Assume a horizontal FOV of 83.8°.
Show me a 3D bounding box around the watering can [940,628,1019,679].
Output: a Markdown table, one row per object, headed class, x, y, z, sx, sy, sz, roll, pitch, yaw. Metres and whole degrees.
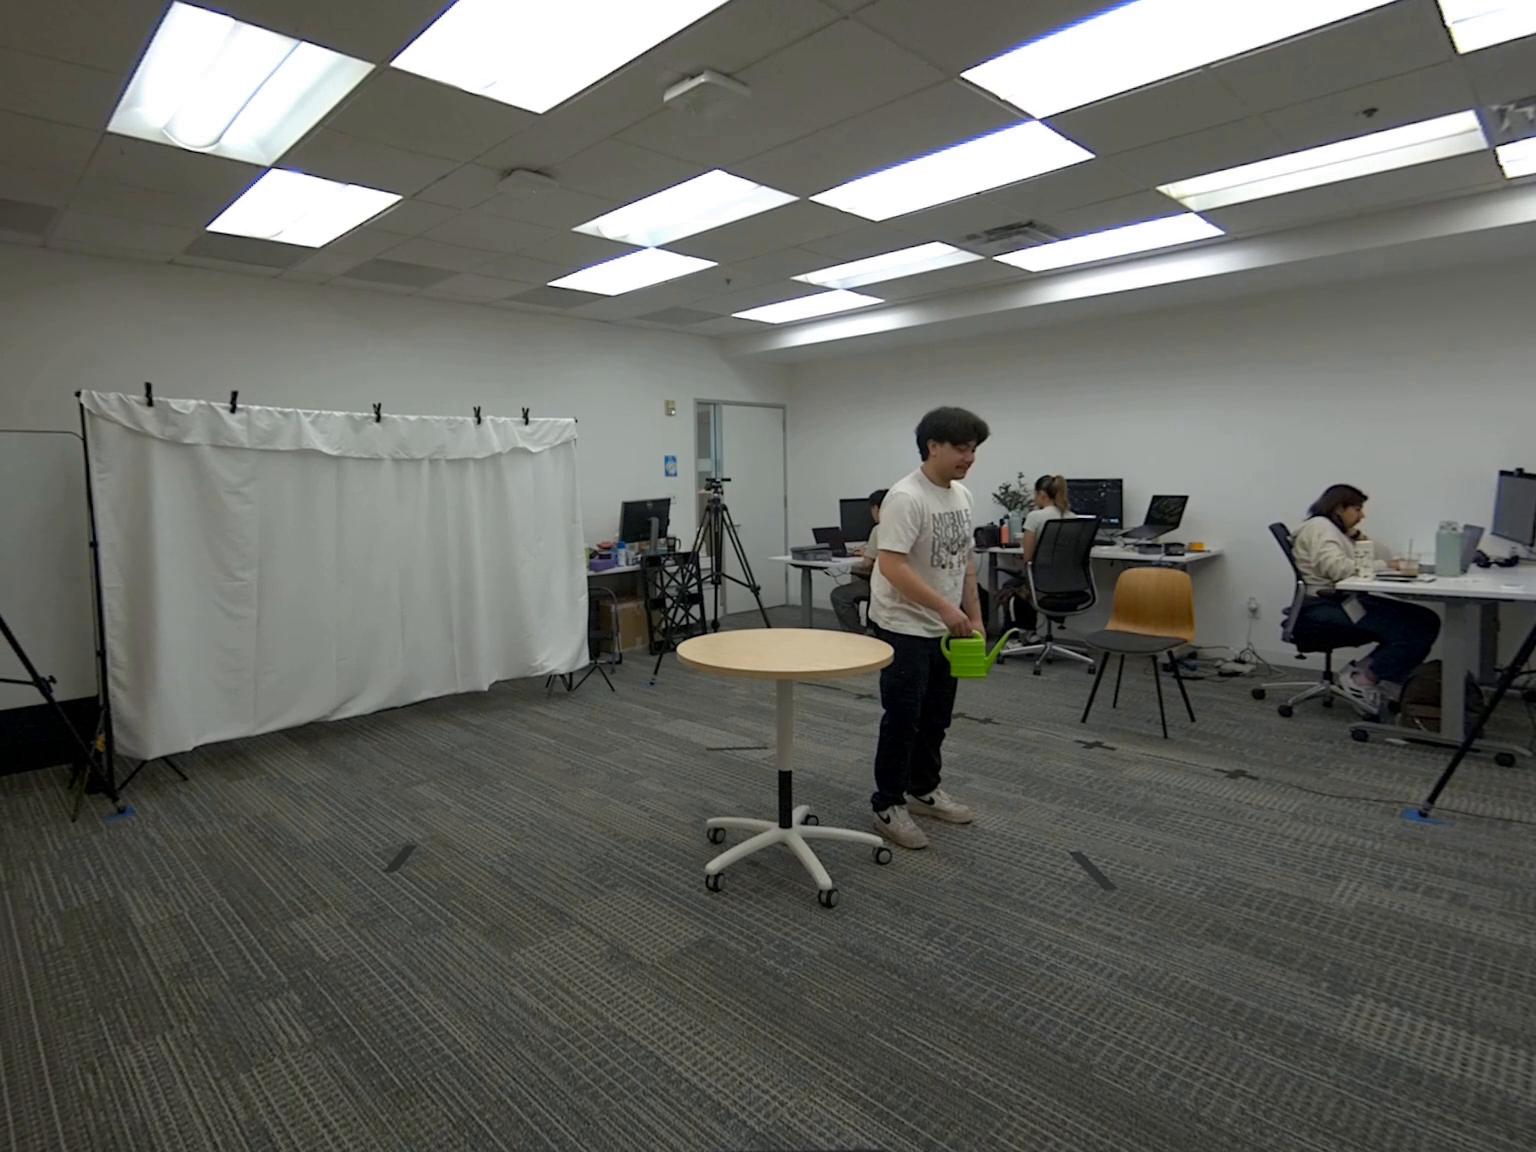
| class | x | y | z | sx | sy | sz | roll | pitch | yaw |
| --- | --- | --- | --- | --- | --- | --- | --- | --- | --- |
| watering can | 0.775 | 0.279 | 3.118 | 0.286 | 0.177 | 0.095 | -2 | 2 | 38 |
